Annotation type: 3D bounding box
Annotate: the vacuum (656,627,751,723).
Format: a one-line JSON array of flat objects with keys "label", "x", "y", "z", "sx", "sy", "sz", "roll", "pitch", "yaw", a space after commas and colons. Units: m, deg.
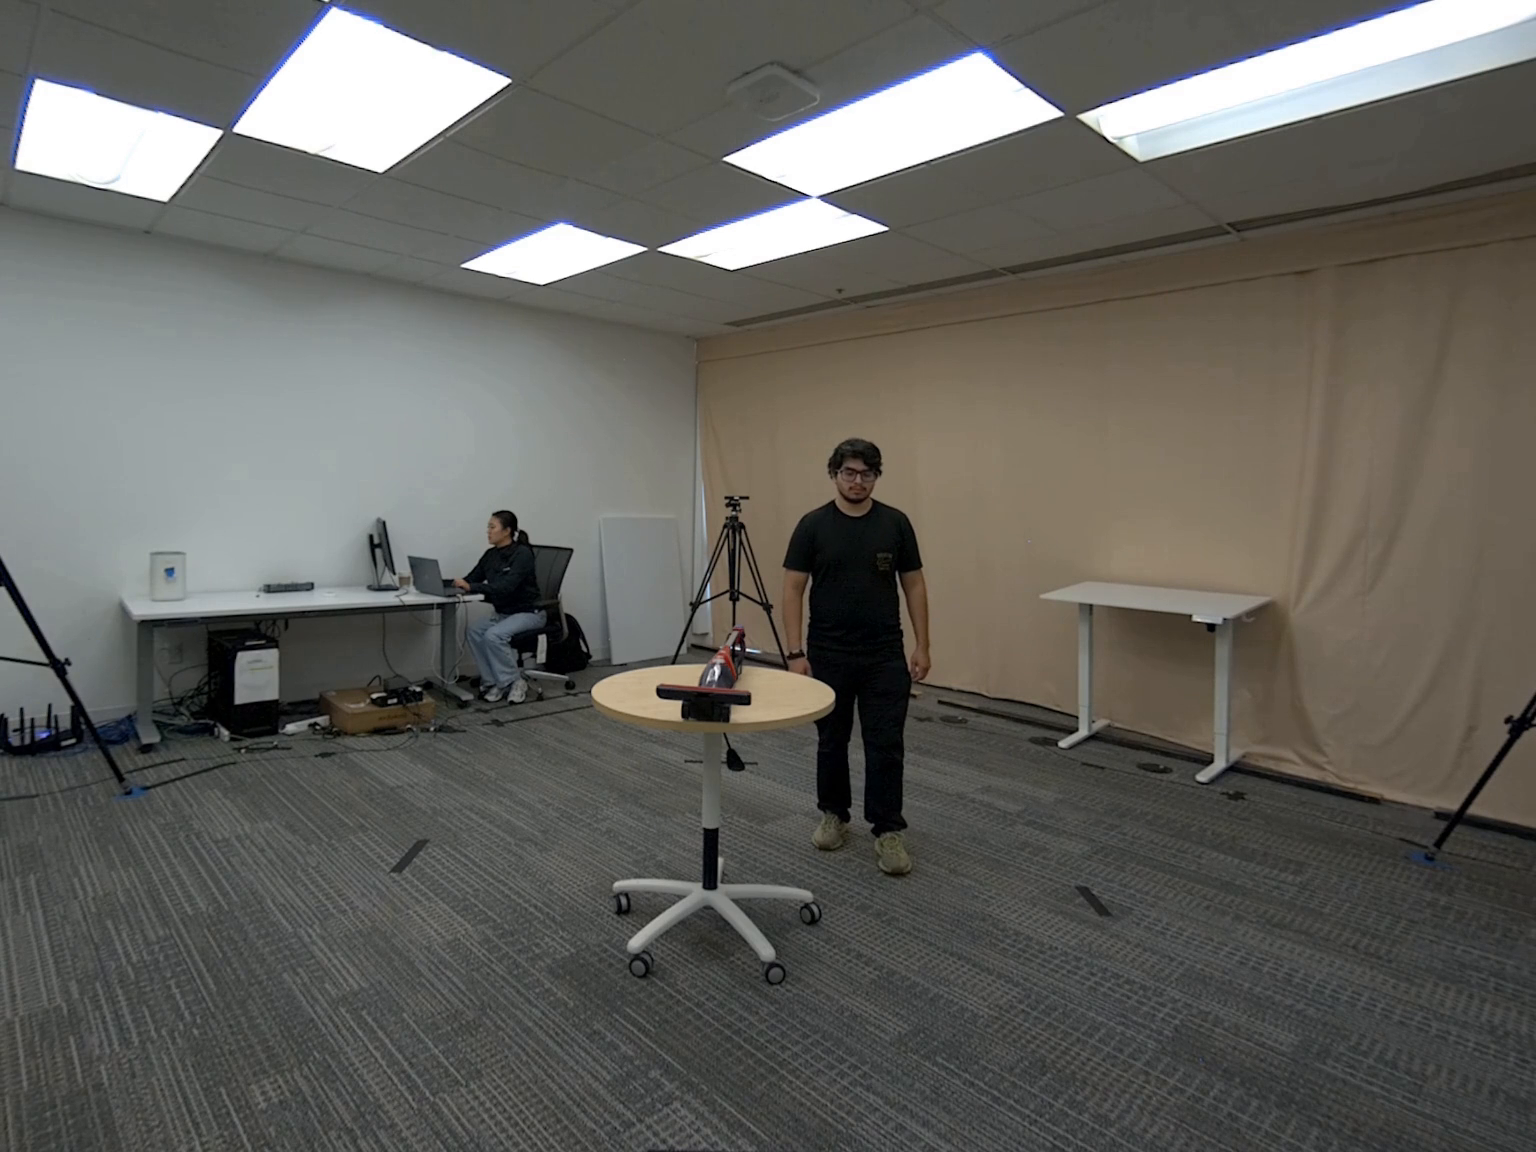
[{"label": "vacuum", "x": -0.140, "y": 0.292, "z": 2.766, "sx": 0.254, "sy": 0.143, "sz": 1.048, "roll": 0, "pitch": 6, "yaw": 5}]
